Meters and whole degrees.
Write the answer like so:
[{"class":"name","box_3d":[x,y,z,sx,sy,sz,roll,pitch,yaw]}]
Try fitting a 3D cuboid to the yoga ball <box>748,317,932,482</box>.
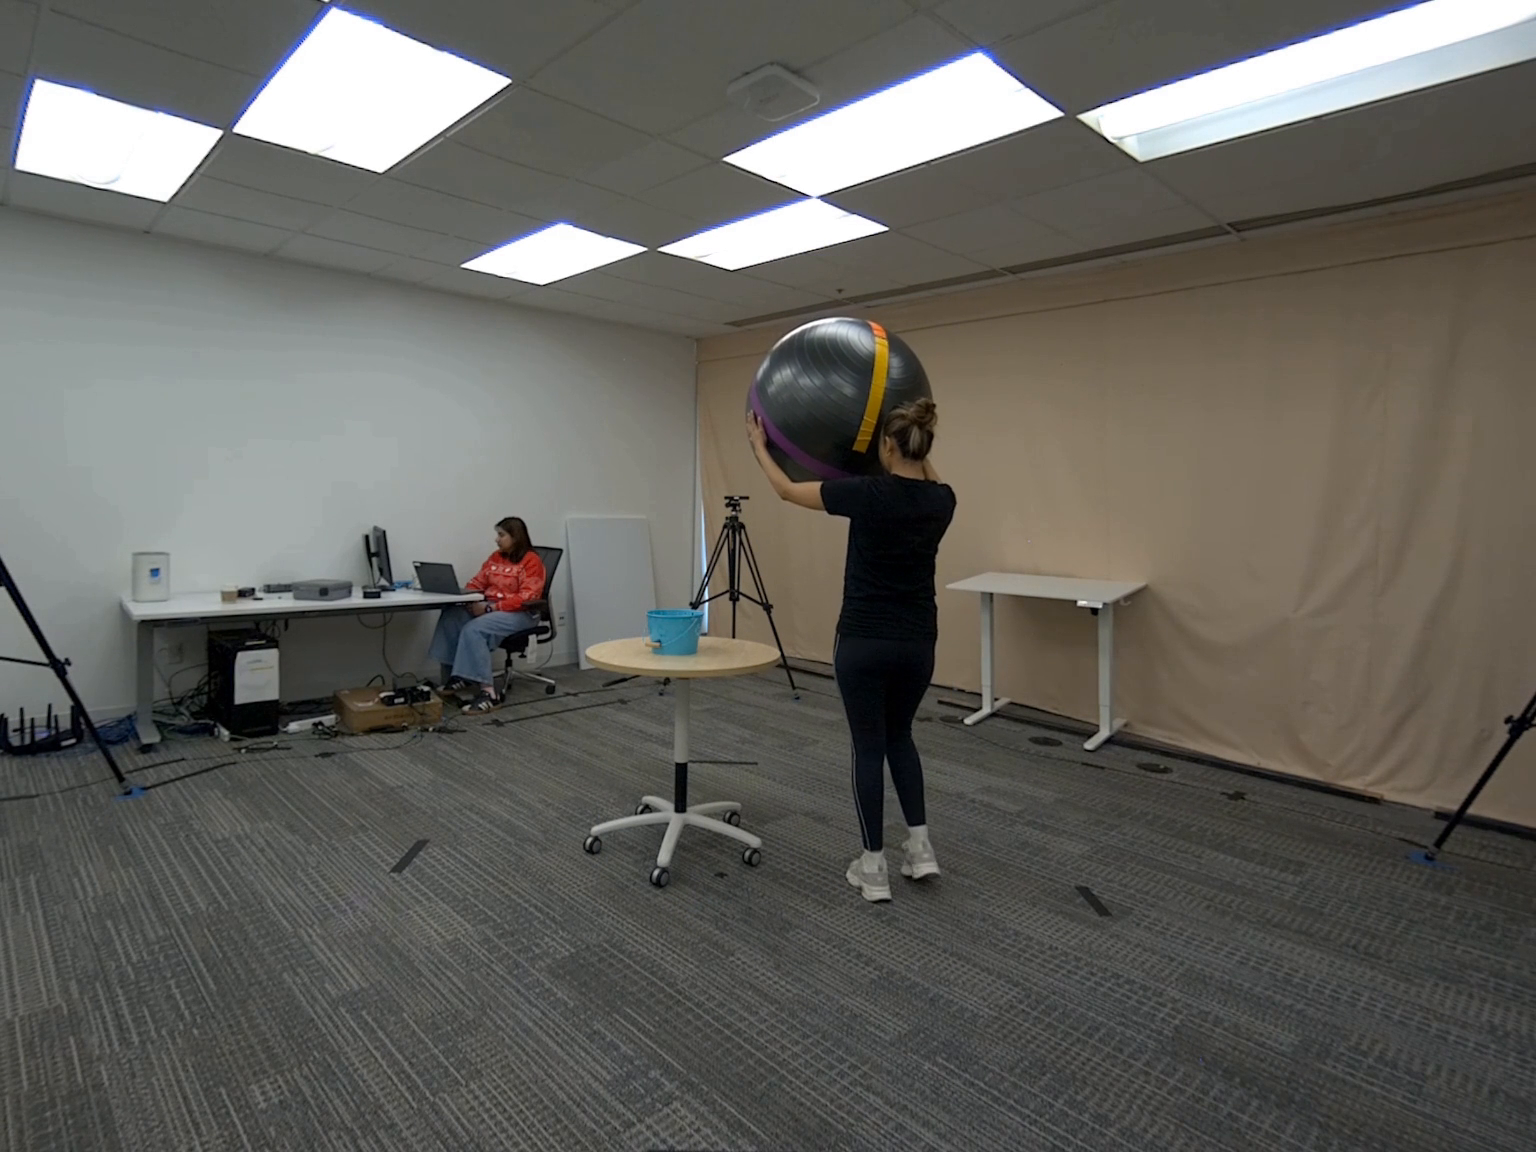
[{"class":"yoga ball","box_3d":[0.285,-0.655,3.420,0.757,0.756,0.761,1,4,-1]}]
